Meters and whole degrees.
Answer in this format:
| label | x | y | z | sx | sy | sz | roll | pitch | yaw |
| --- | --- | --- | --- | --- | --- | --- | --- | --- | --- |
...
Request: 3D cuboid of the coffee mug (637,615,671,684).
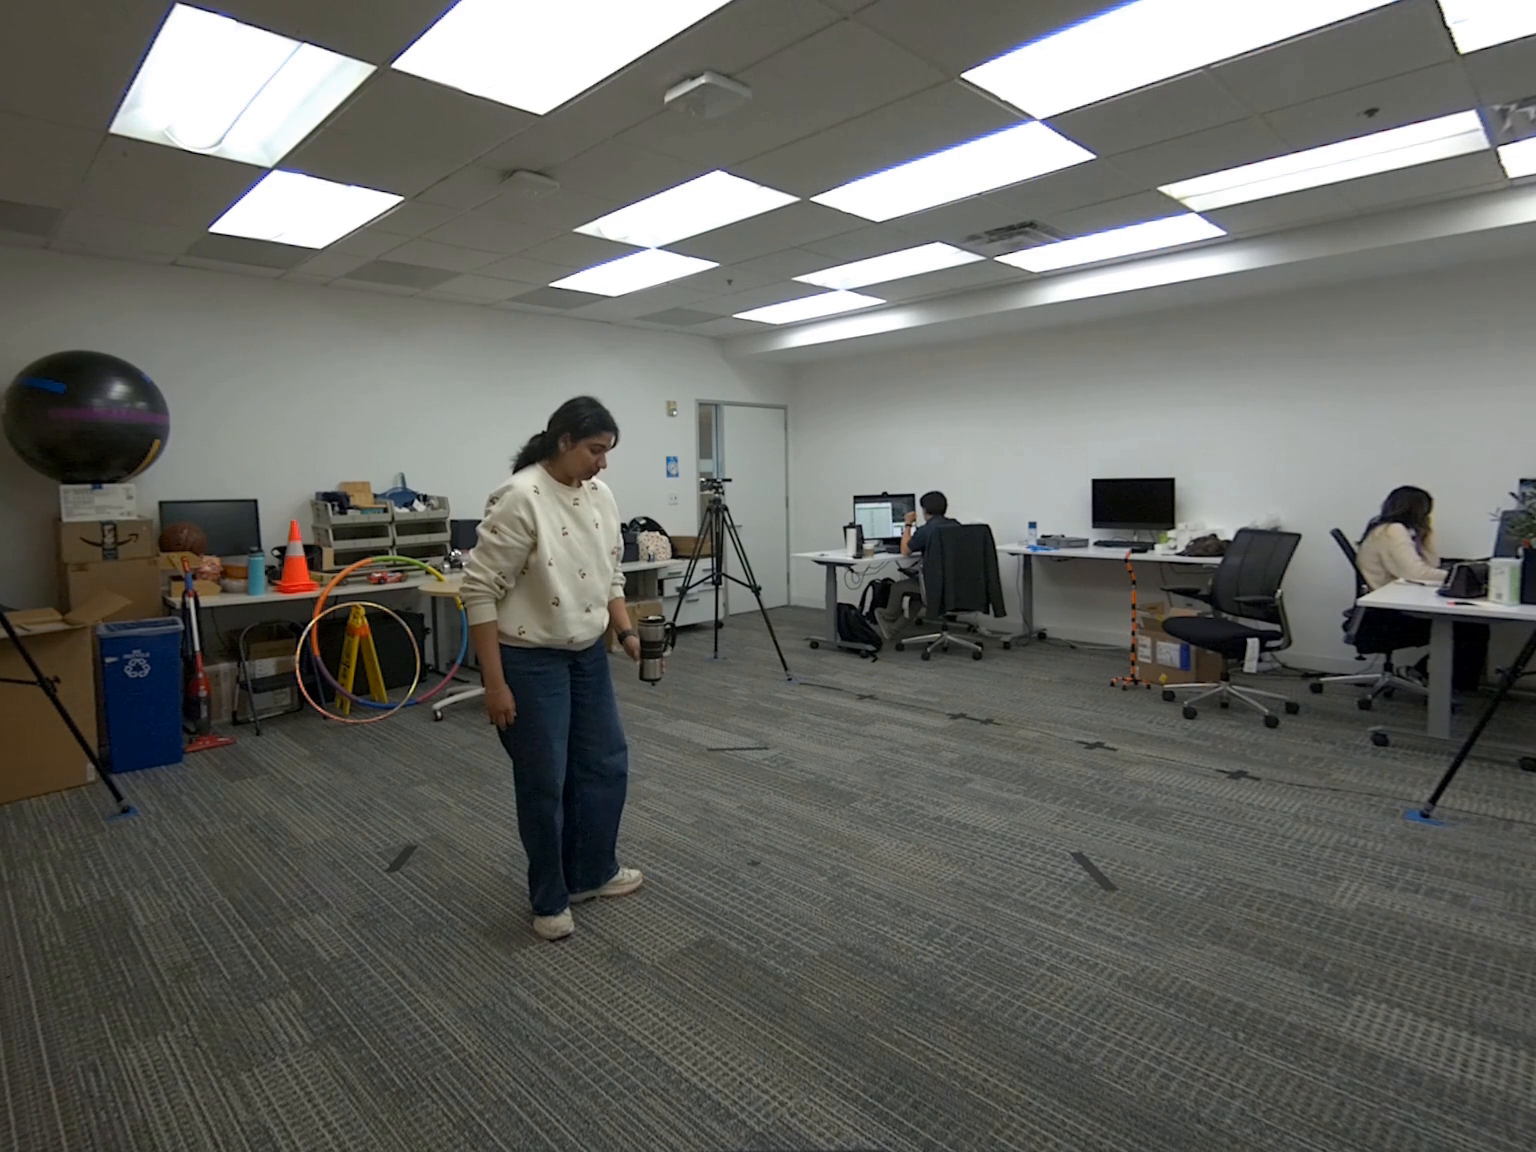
| label | x | y | z | sx | sy | sz | roll | pitch | yaw |
| --- | --- | --- | --- | --- | --- | --- | --- | --- | --- |
| coffee mug | -0.350 | 0.232 | 2.697 | 0.122 | 0.202 | 0.088 | -4 | 2 | -1 |
